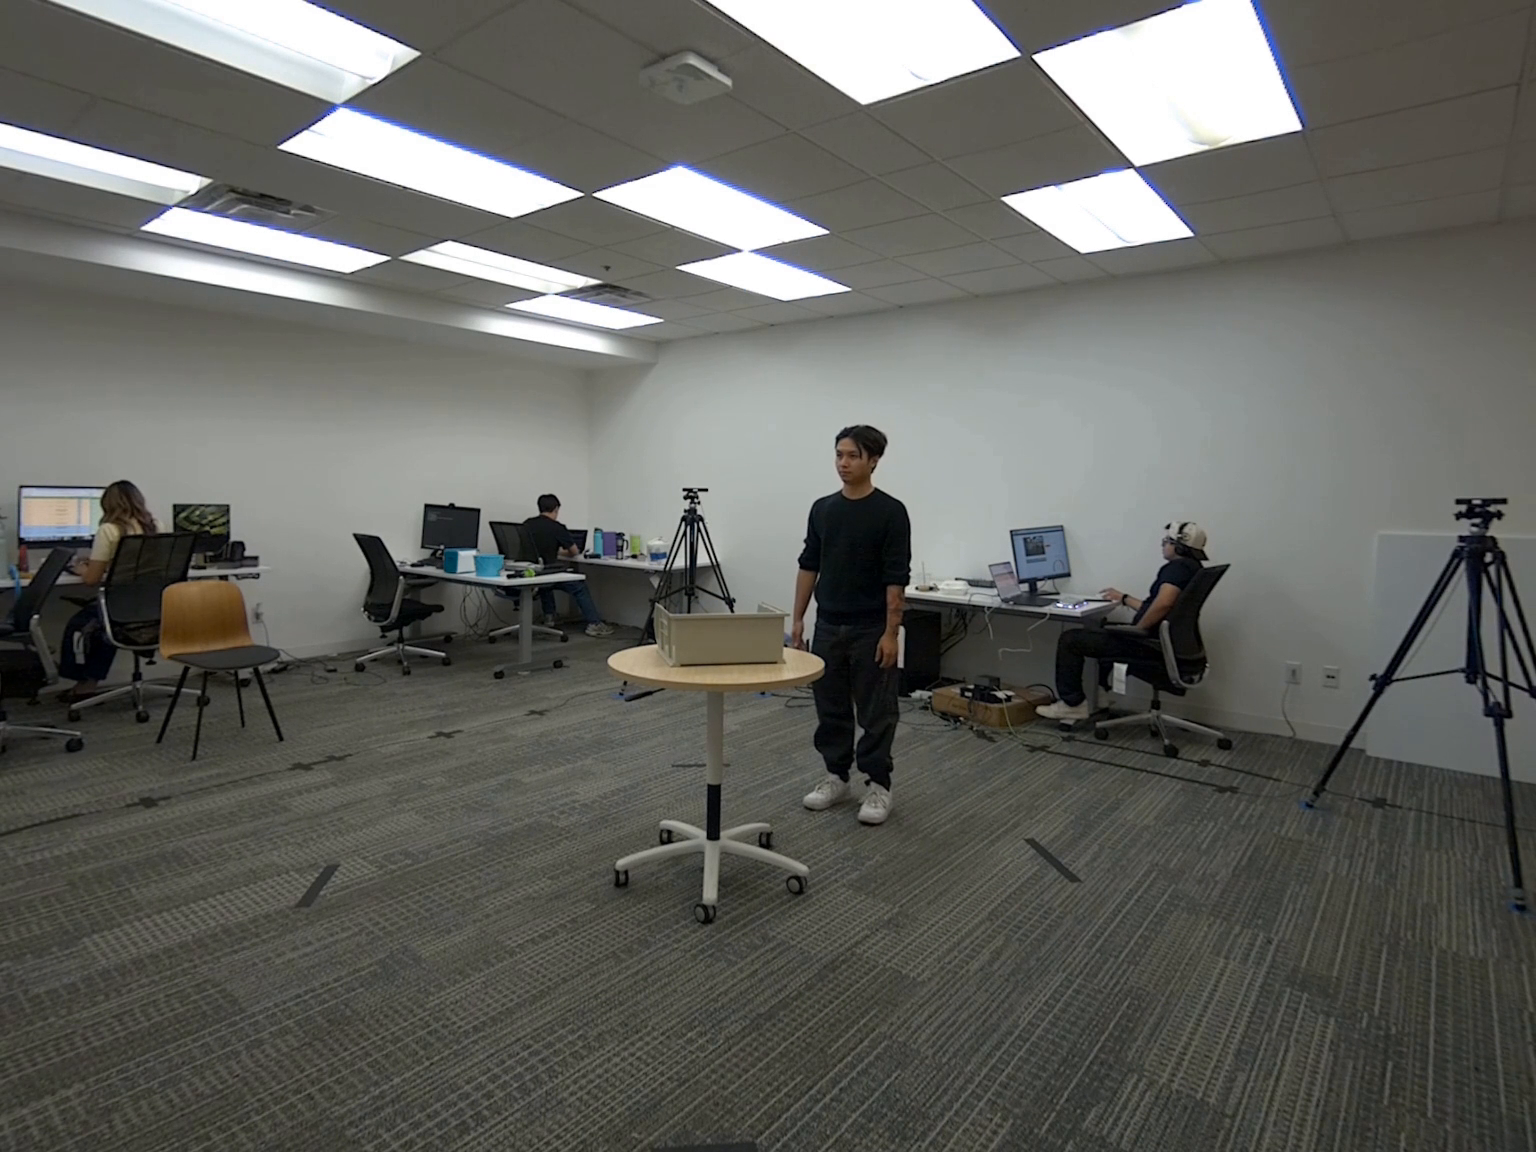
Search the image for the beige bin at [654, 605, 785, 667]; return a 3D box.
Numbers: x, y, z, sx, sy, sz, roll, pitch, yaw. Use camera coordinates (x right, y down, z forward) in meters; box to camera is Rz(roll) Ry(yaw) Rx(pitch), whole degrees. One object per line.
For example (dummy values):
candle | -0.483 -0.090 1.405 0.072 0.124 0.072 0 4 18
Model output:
beige bin | -0.189 0.197 3.093 0.416 0.188 0.385 -1 6 -15
